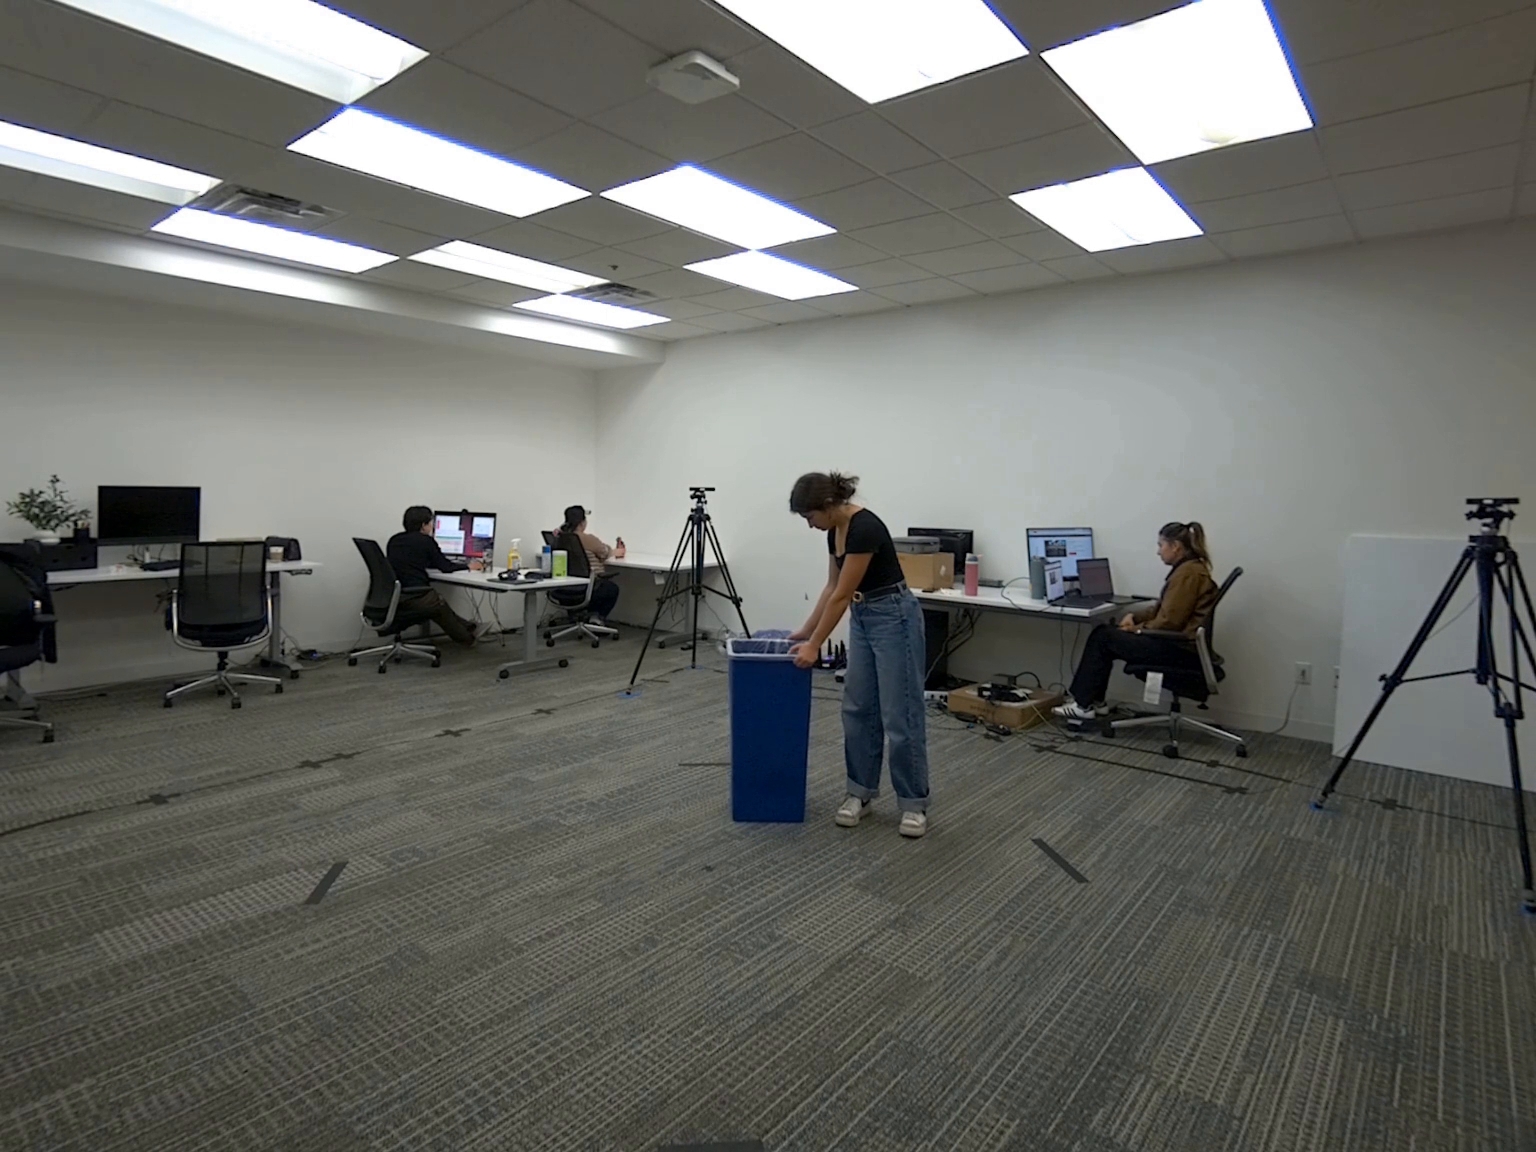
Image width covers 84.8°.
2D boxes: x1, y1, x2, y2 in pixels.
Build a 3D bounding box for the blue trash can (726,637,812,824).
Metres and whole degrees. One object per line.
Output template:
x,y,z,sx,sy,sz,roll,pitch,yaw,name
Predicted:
-0.003,0.660,3.688,0.378,0.712,0.375,1,2,-2,blue trash can
